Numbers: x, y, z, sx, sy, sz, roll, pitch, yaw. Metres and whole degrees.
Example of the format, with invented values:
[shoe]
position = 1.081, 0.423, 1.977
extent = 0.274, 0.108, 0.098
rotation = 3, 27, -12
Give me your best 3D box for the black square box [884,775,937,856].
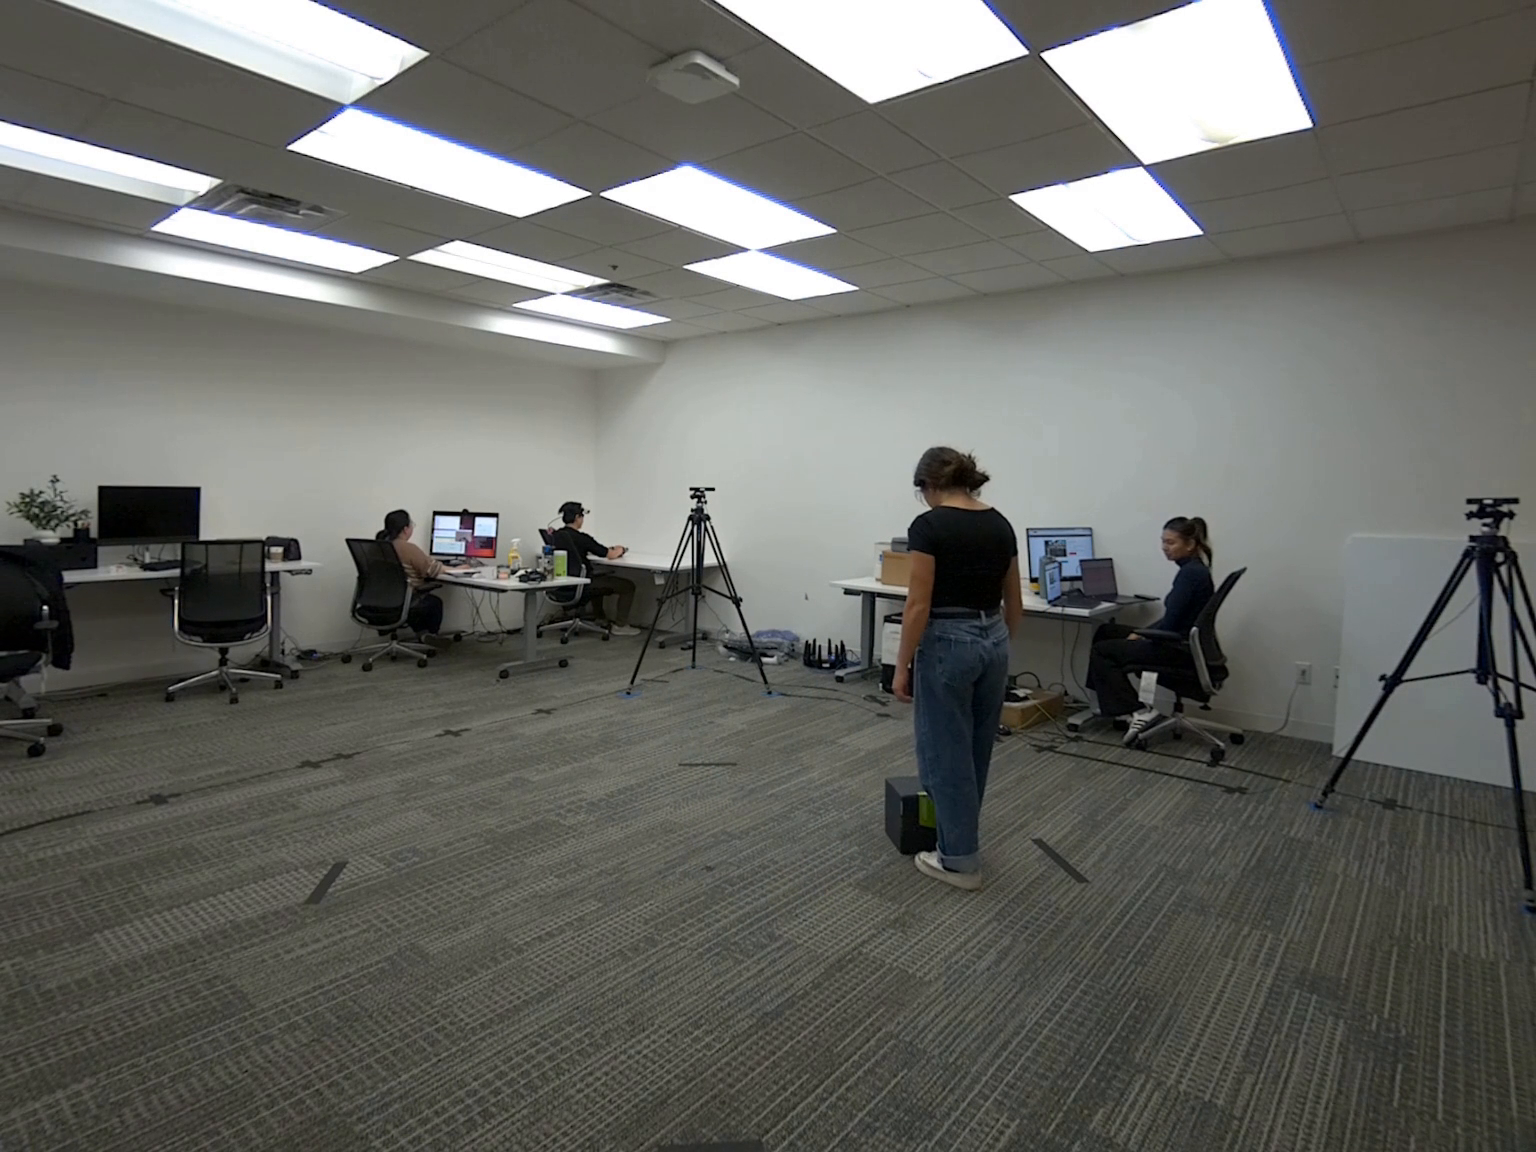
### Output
[black square box]
position = 0.563, 0.935, 3.375
extent = 0.155, 0.227, 0.220
rotation = -1, 5, -9
